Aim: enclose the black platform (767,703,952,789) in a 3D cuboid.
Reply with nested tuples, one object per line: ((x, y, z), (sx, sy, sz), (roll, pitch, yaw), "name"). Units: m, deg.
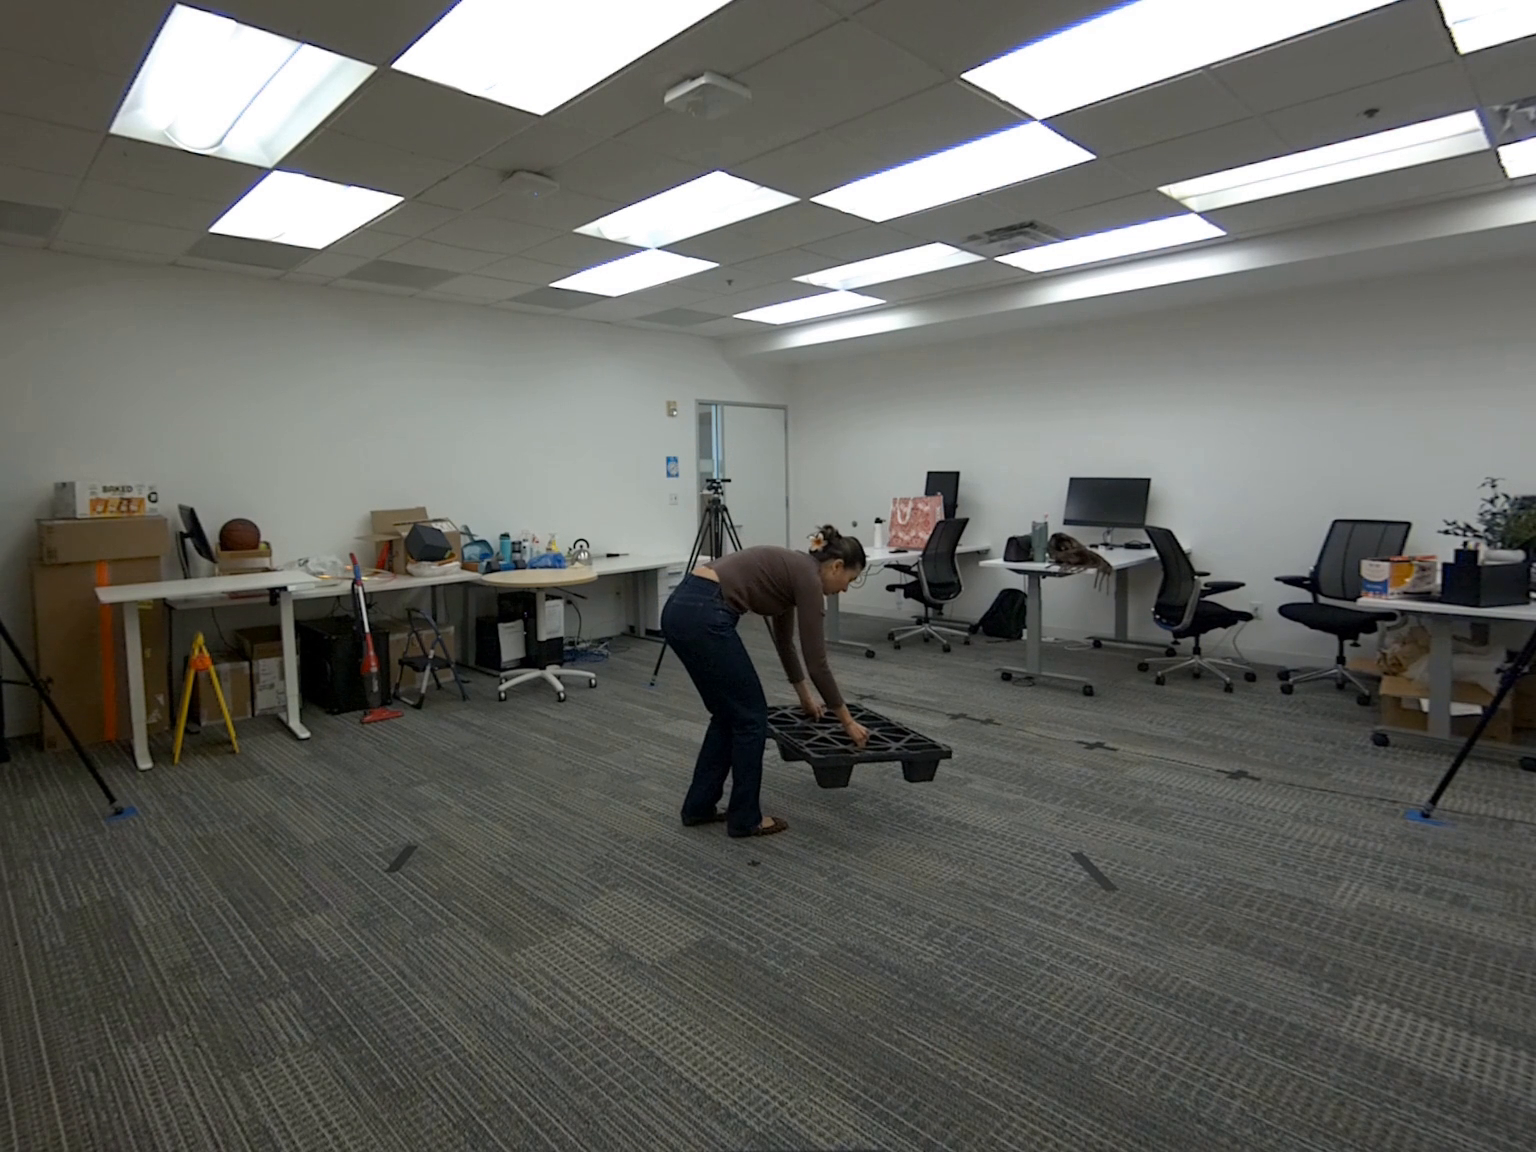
((0.288, 0.691, 3.556), (0.593, 0.143, 0.823), (2, 4, -21), "black platform")
